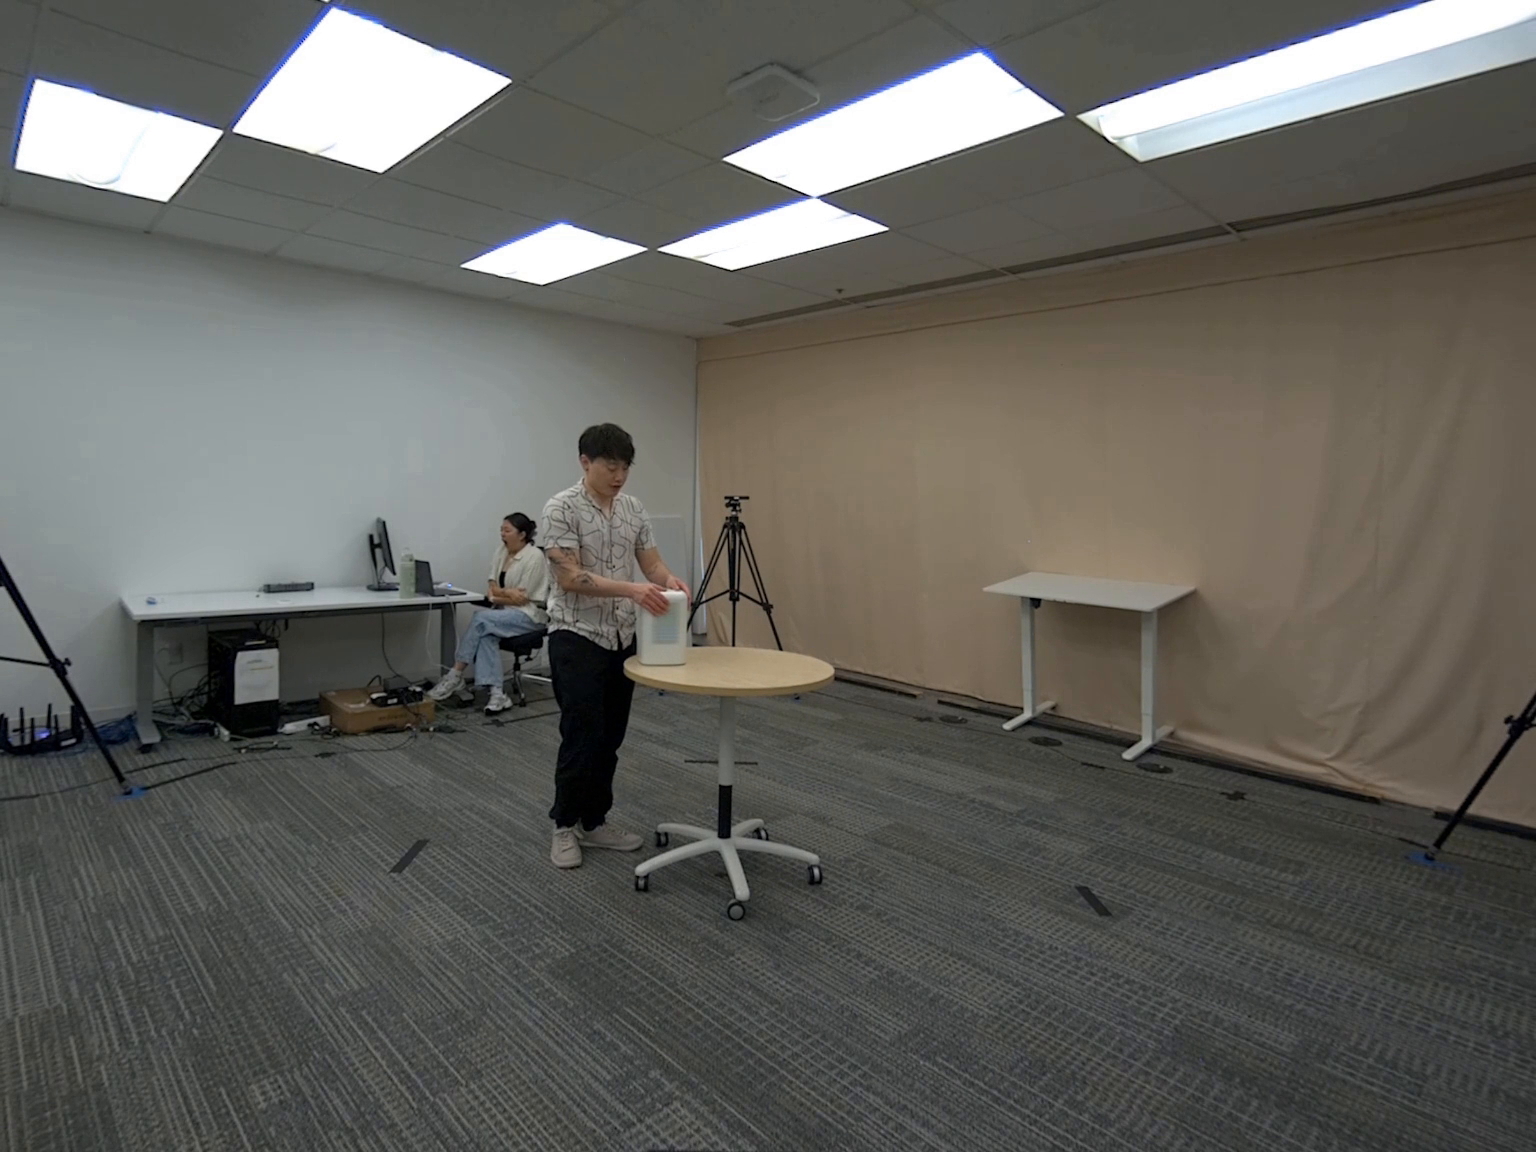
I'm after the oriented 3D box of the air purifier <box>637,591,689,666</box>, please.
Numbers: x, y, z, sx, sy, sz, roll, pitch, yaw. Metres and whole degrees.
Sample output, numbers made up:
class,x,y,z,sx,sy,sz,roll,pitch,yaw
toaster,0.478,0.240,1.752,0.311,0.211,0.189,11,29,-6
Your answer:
class,x,y,z,sx,sy,sz,roll,pitch,yaw
air purifier,-0.395,0.182,3.096,0.170,0.265,0.172,2,1,-8
